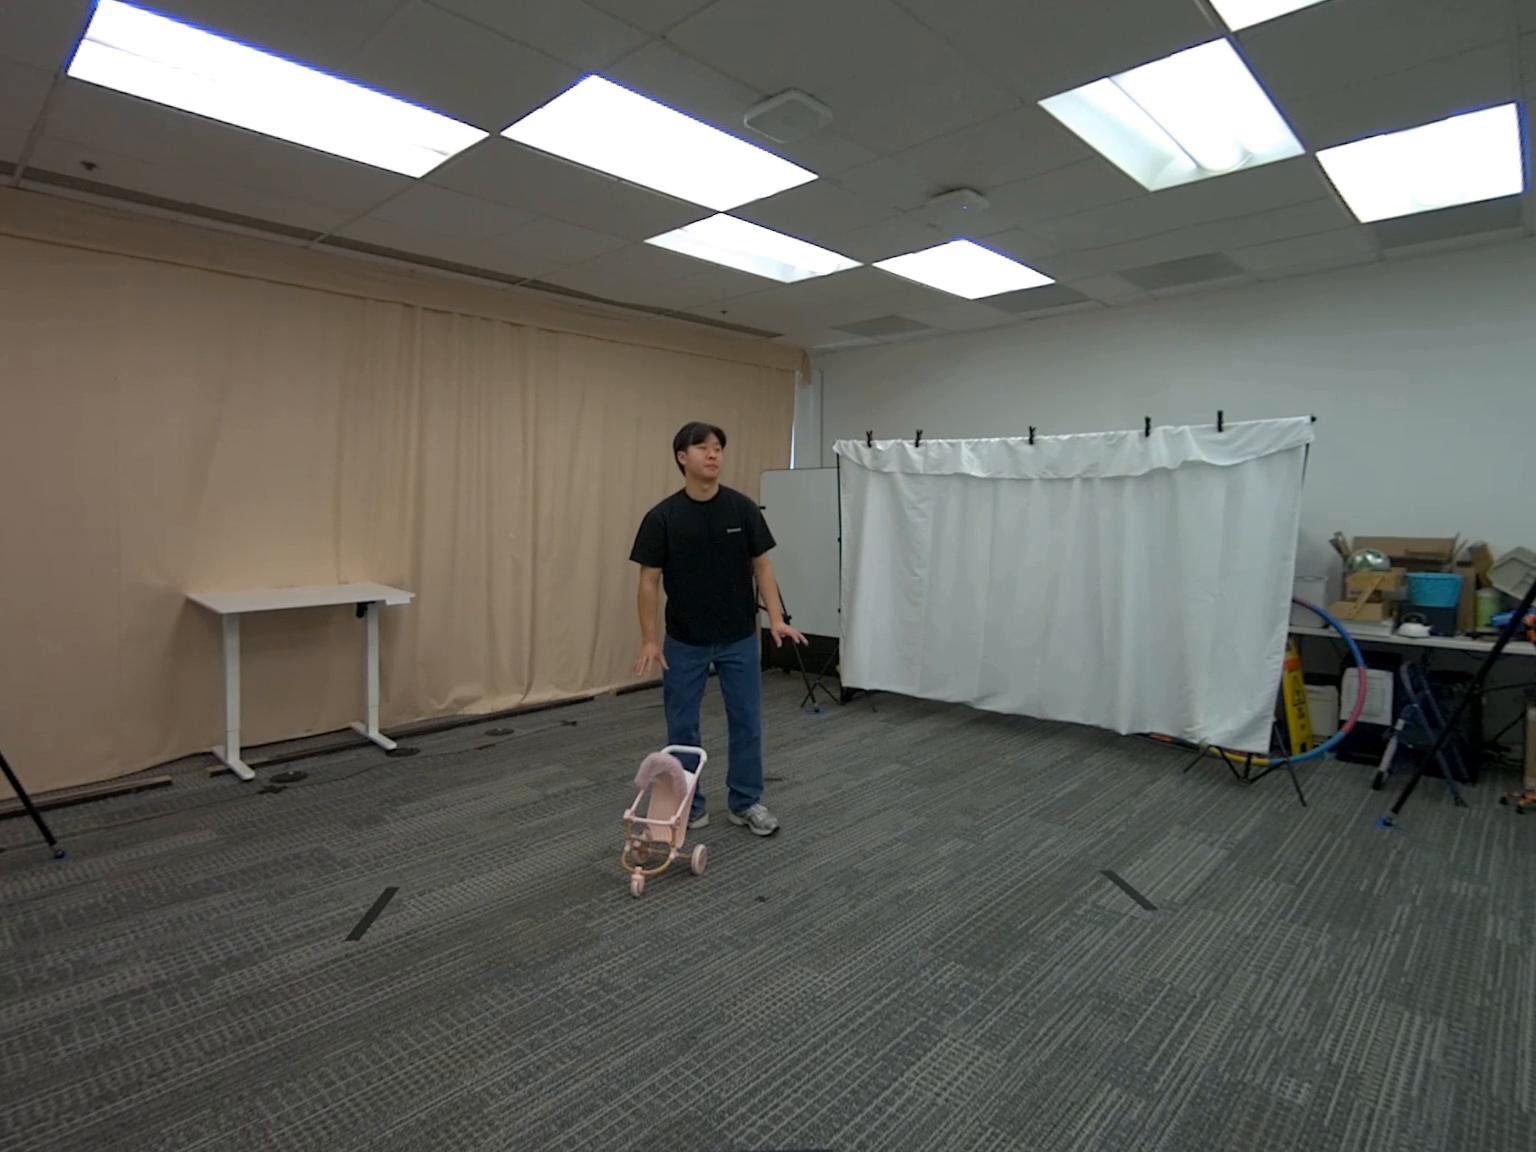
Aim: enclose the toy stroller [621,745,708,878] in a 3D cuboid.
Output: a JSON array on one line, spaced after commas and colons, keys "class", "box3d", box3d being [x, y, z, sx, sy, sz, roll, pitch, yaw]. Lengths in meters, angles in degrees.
[{"class": "toy stroller", "box3d": [-0.403, 0.906, 3.173, 0.289, 0.538, 0.330, 0, -13, 26]}]
